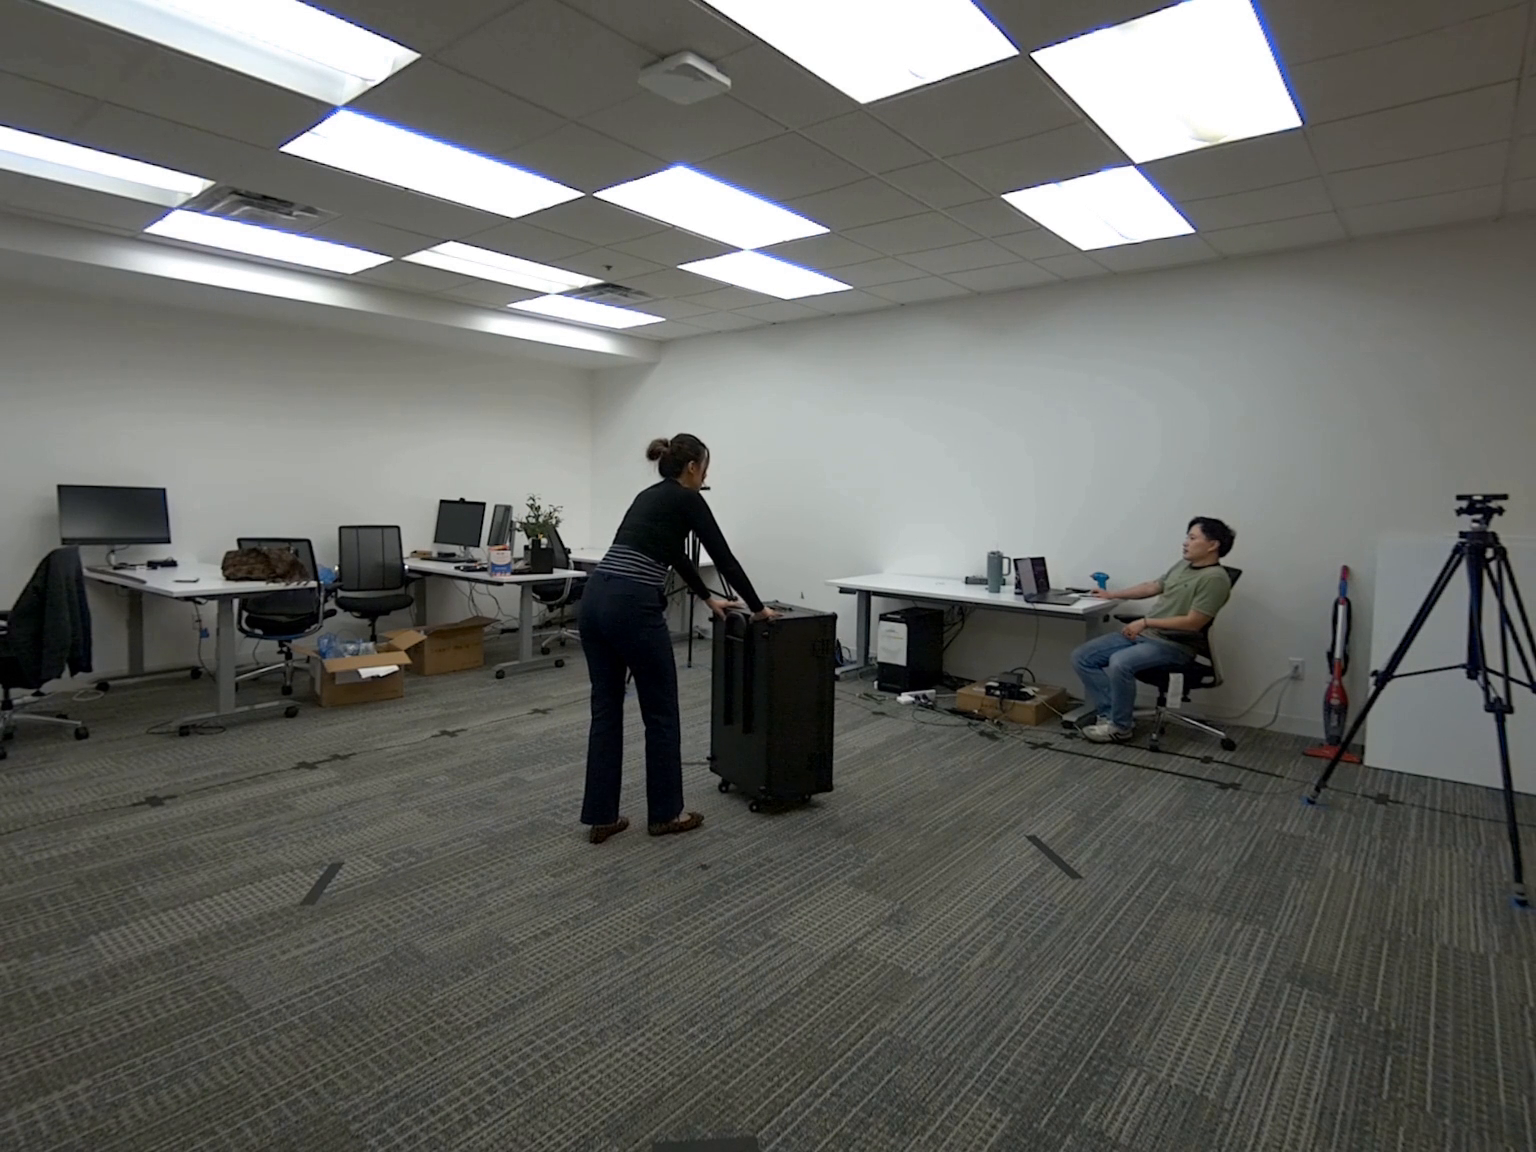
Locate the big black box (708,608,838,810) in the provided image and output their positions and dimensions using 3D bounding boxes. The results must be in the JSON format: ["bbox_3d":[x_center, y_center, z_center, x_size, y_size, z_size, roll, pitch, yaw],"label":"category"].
[{"bbox_3d":[-0.001,0.571,3.831,0.385,0.859,0.538,-1,4,-33],"label":"big black box"}]
